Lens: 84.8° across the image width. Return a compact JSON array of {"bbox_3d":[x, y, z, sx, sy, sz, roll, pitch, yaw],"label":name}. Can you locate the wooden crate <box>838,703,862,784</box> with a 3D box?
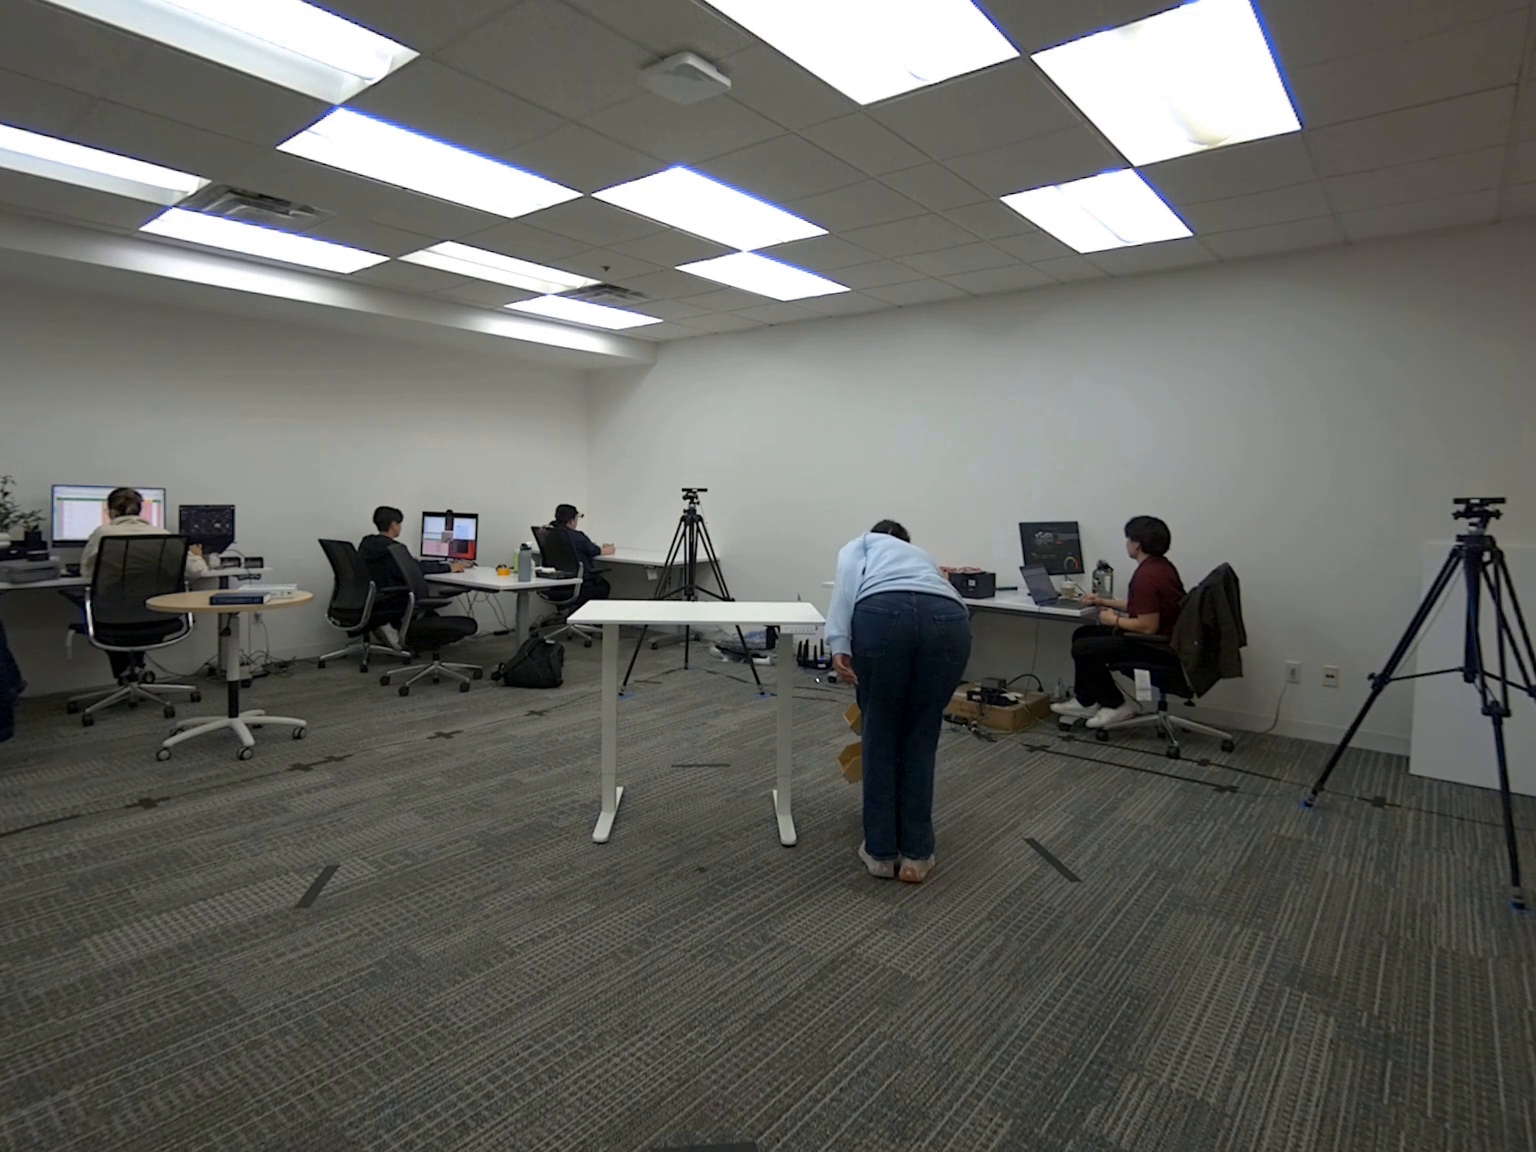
[{"bbox_3d":[0.387,0.669,3.616,0.303,0.274,0.322,-18,-2,4],"label":"wooden crate"}]
